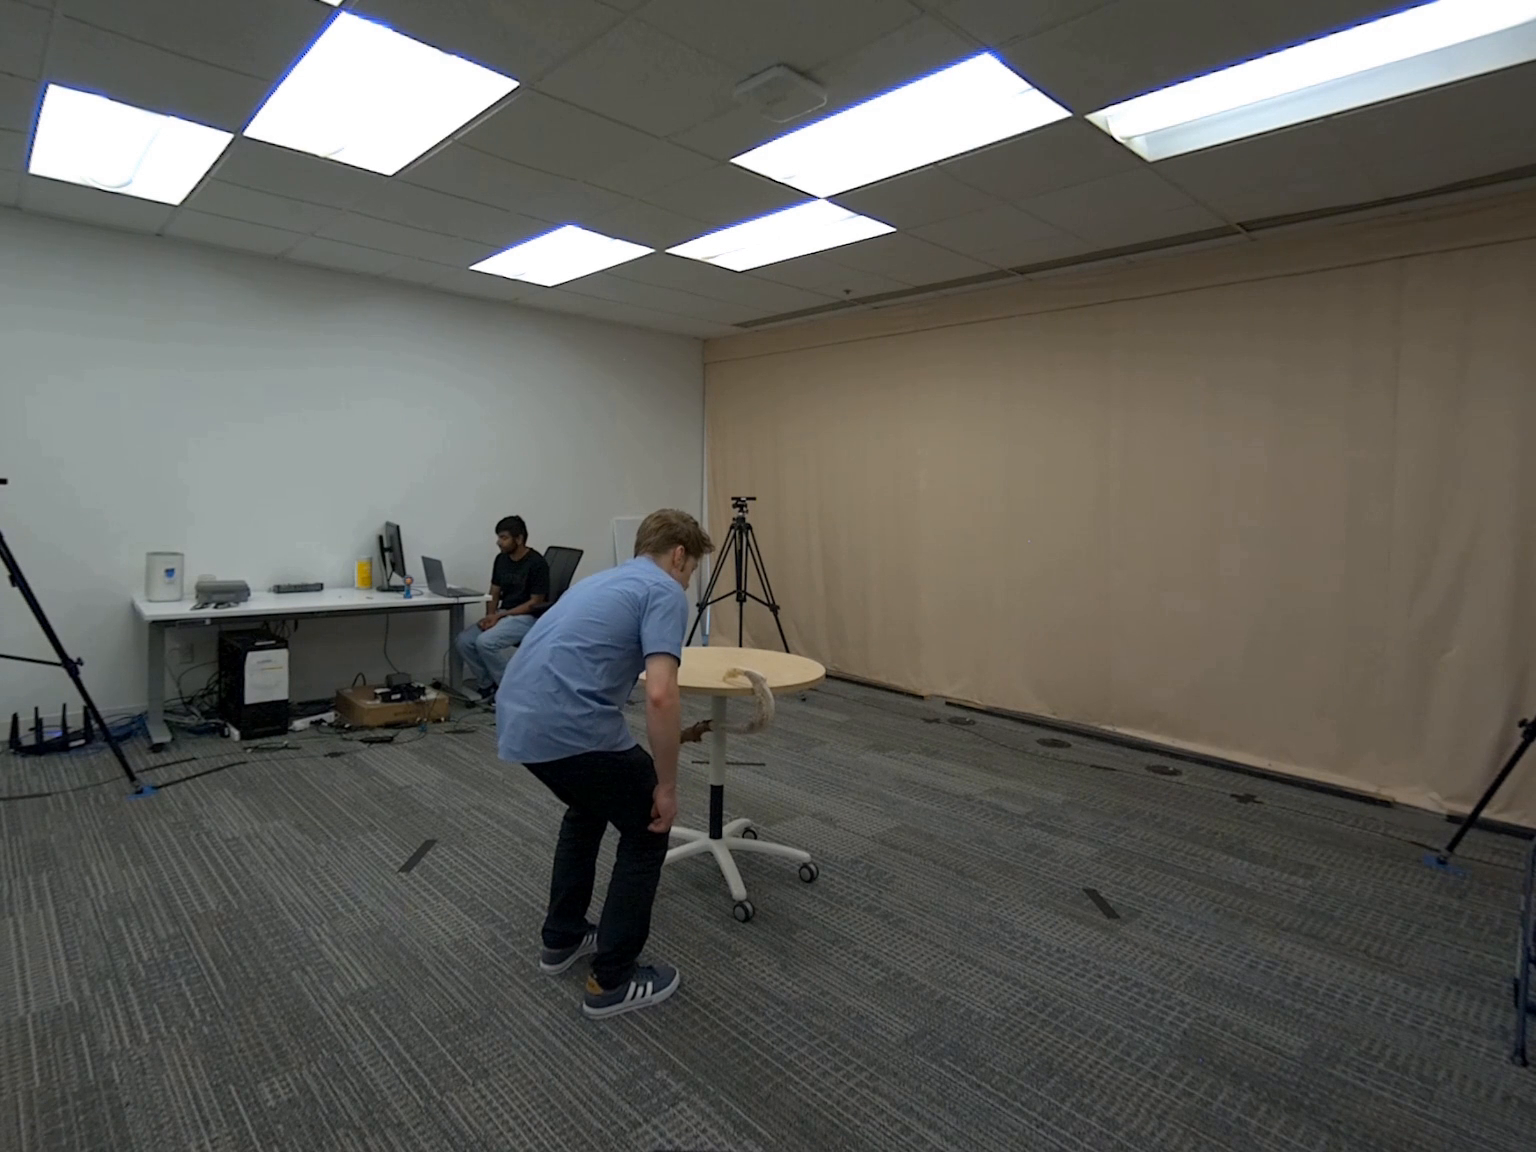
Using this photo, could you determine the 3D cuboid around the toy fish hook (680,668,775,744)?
[{"bbox_3d":[-0.171,0.448,2.822,0.047,0.228,0.512,5,-22,-44],"label":"toy fish hook"}]
